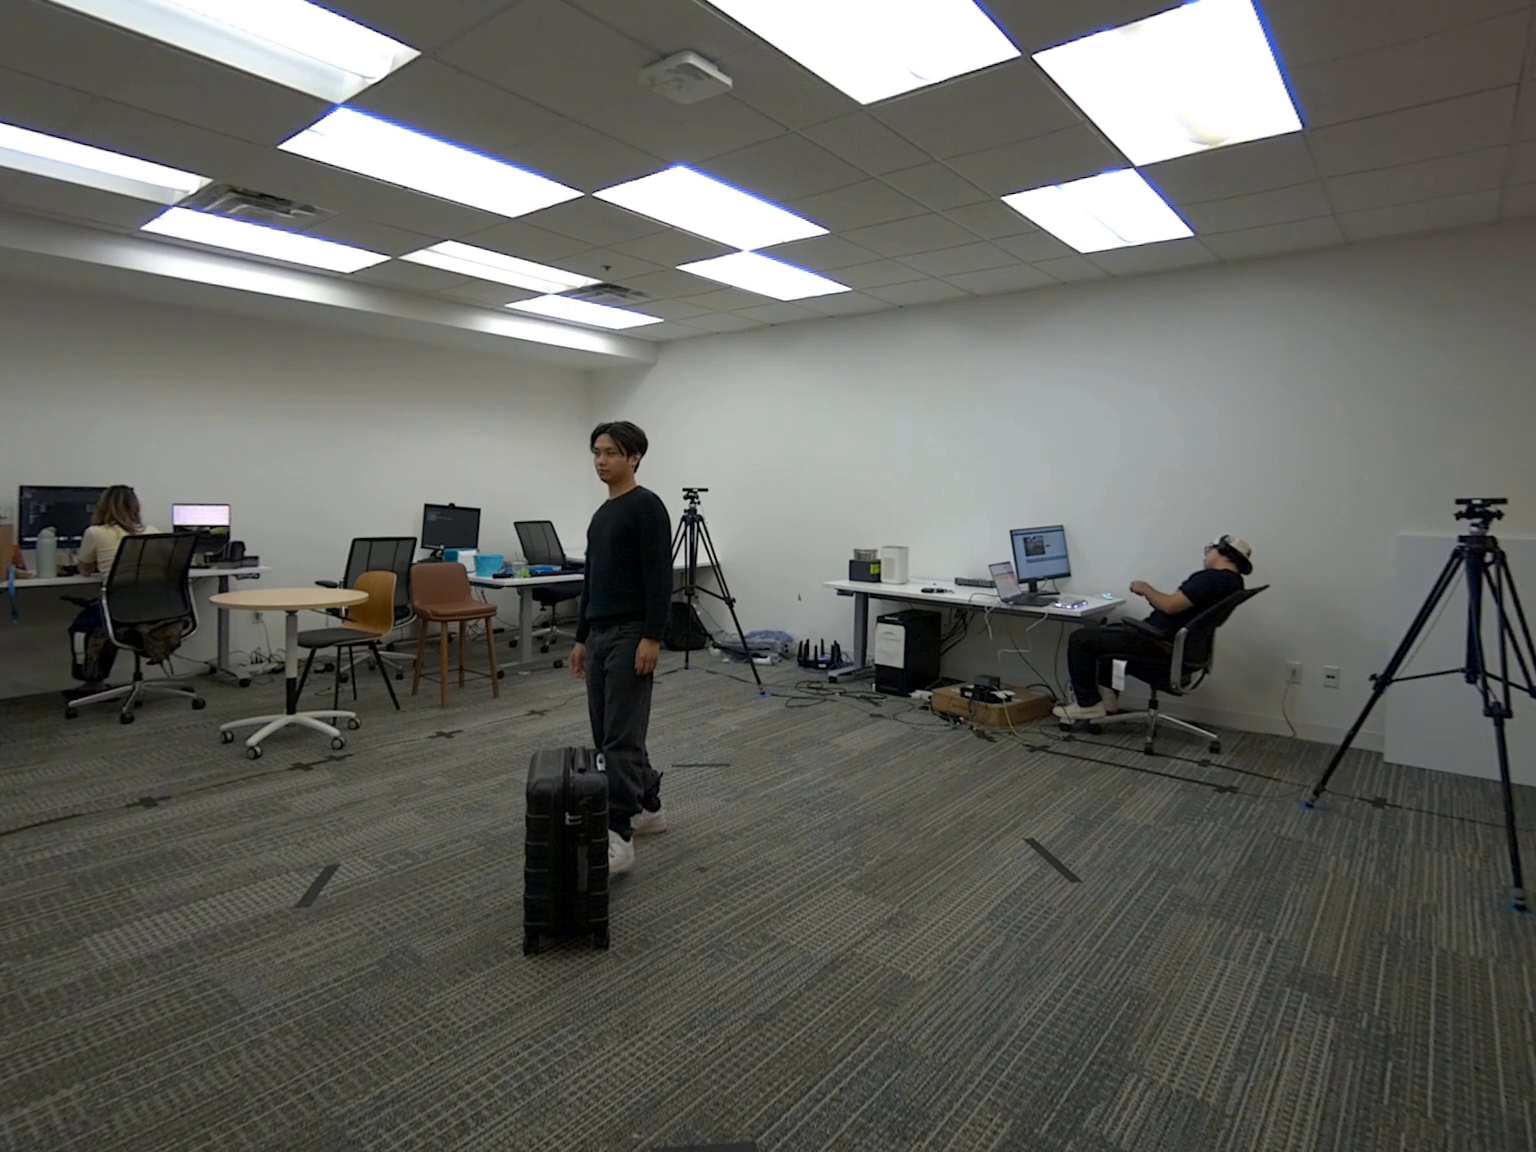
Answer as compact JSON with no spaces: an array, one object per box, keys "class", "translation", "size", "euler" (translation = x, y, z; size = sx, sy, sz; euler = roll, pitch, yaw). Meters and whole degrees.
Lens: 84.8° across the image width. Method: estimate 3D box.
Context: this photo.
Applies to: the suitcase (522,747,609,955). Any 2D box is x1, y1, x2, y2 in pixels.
[{"class":"suitcase","translation":[-0.646,0.834,2.657],"size":[0.245,0.547,0.381],"euler":[0,5,-12]}]
